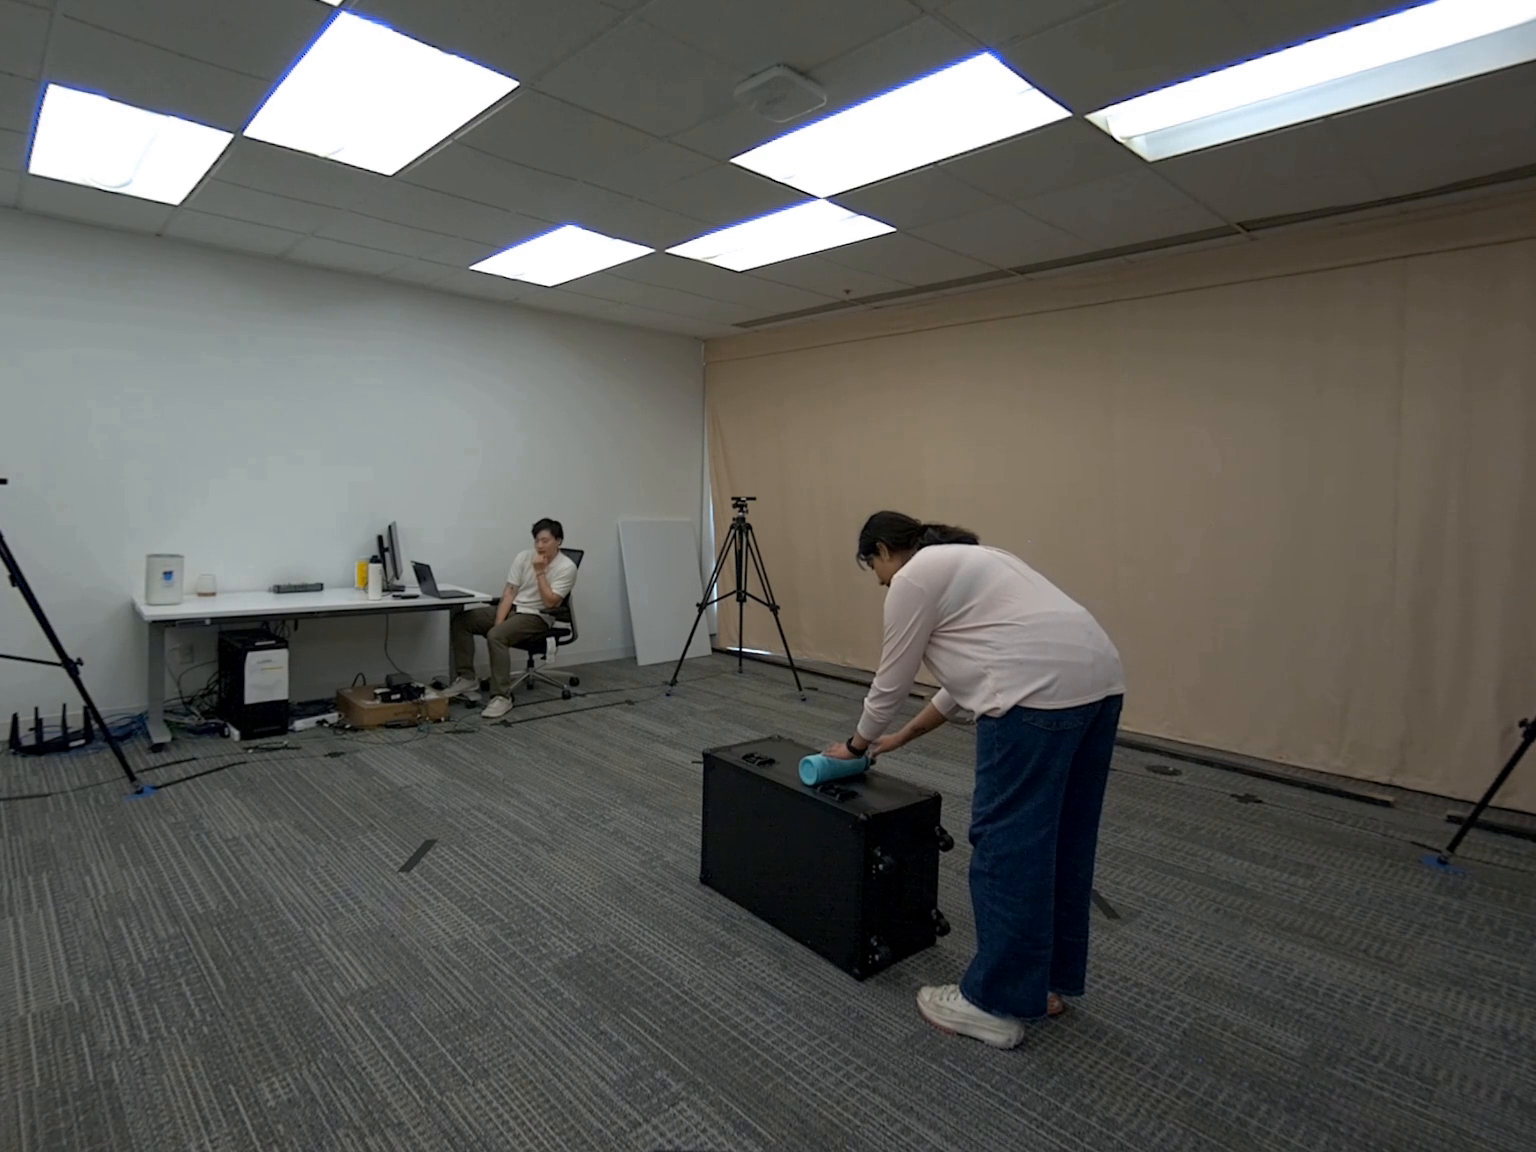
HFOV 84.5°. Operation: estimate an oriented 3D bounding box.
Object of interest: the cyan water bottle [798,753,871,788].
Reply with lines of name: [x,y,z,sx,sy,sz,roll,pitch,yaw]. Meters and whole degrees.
cyan water bottle: [0.227,0.613,2.763,0.277,0.092,0.095,-2,5,-39]
